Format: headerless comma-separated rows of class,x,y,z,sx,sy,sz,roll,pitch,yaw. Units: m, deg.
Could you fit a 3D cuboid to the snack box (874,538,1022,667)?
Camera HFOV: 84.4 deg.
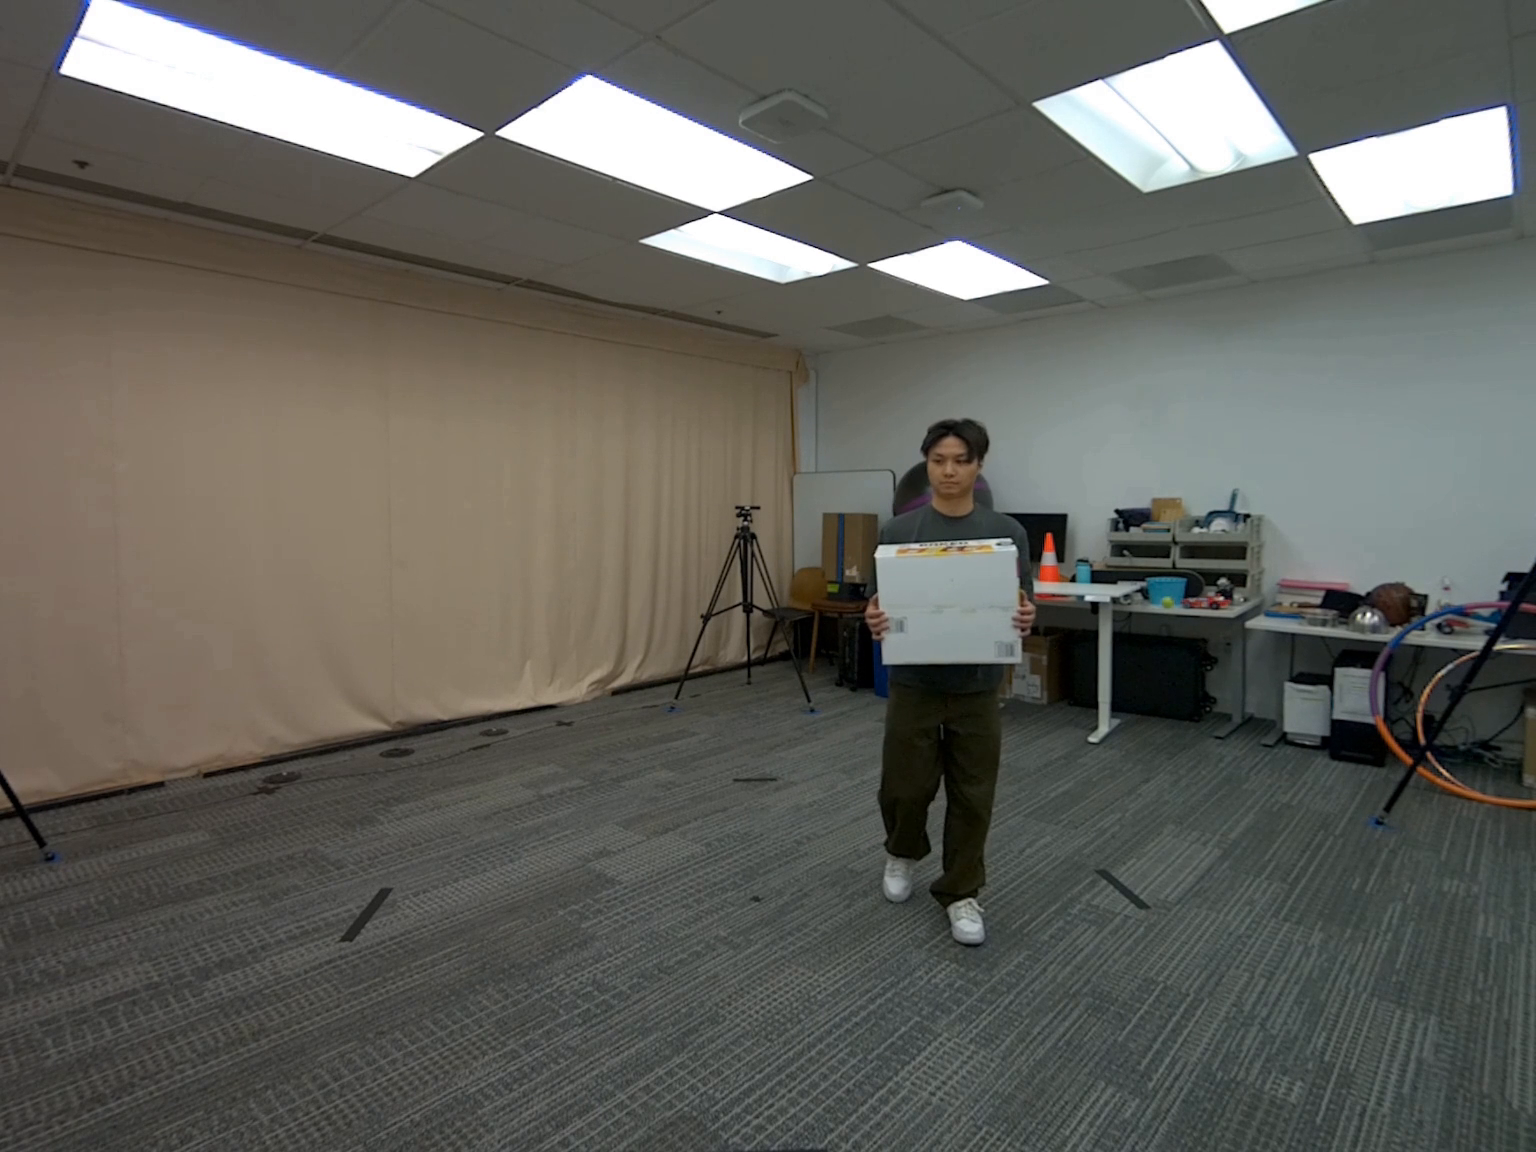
snack box,0.542,0.075,2.569,0.411,0.338,0.204,-2,8,14
